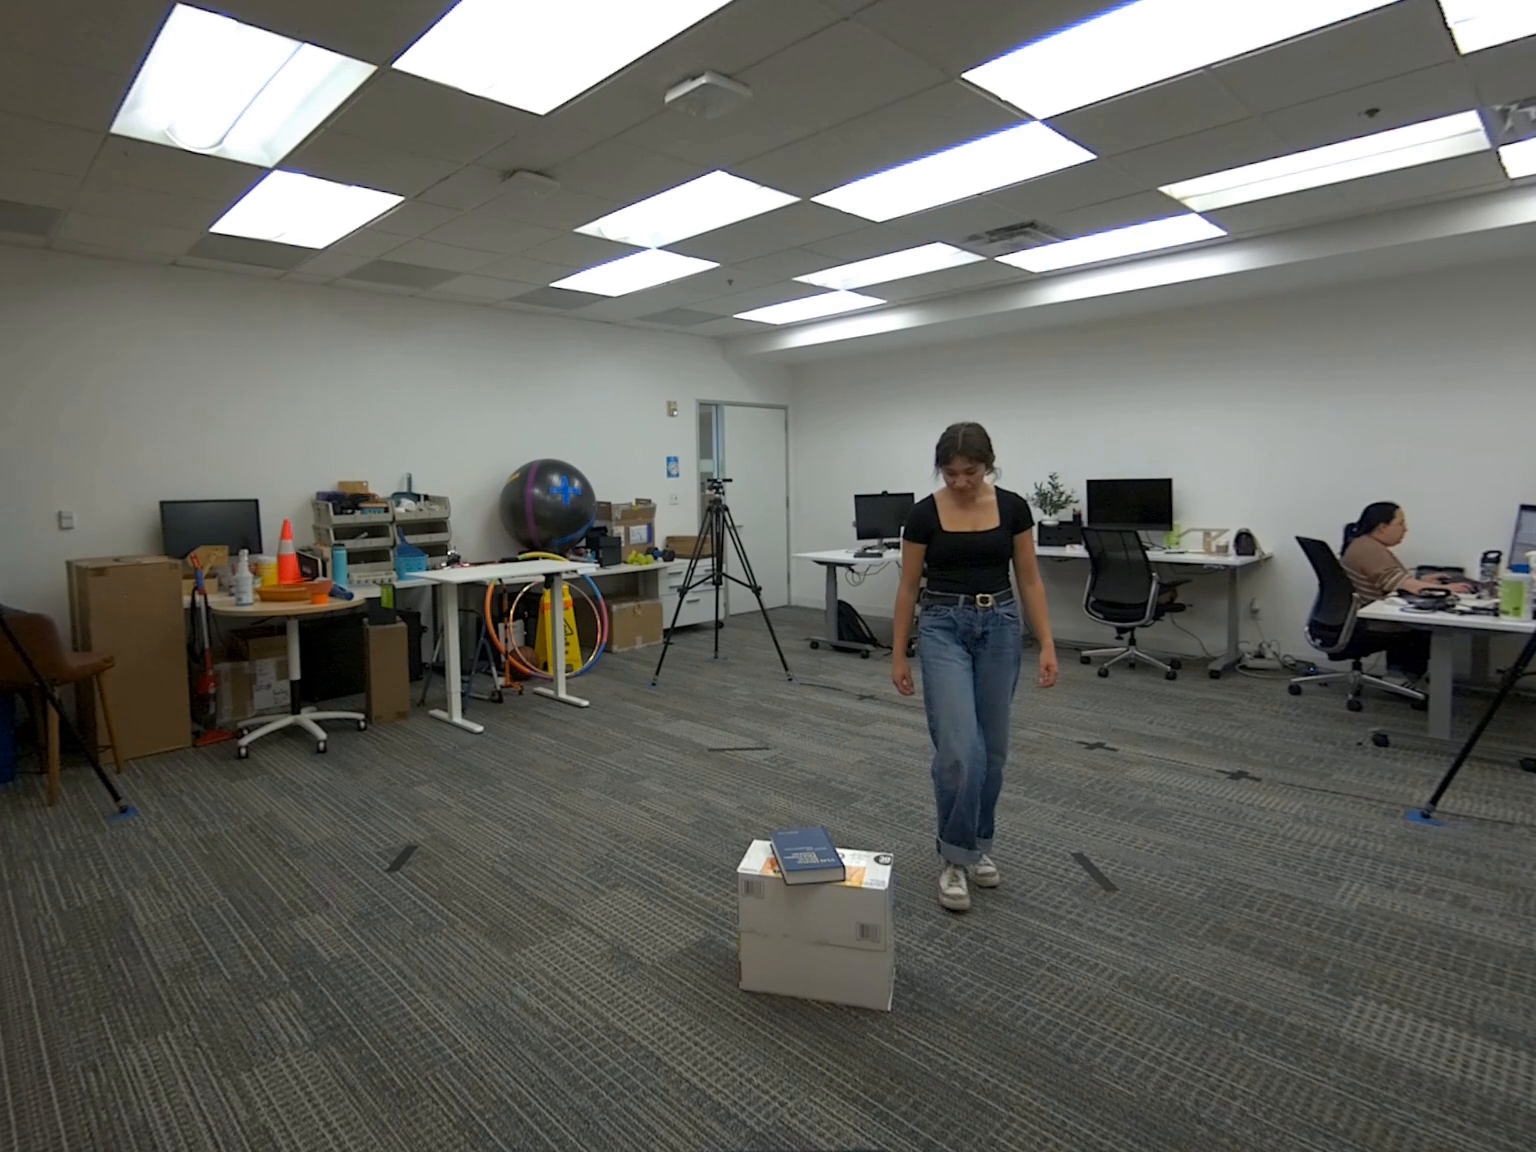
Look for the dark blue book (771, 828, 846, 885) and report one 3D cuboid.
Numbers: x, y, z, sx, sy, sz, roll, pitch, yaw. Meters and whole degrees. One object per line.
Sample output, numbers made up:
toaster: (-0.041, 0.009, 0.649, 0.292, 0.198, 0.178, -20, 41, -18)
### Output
dark blue book: (0.109, 0.769, 2.351, 0.162, 0.045, 0.248, -3, 7, -9)
